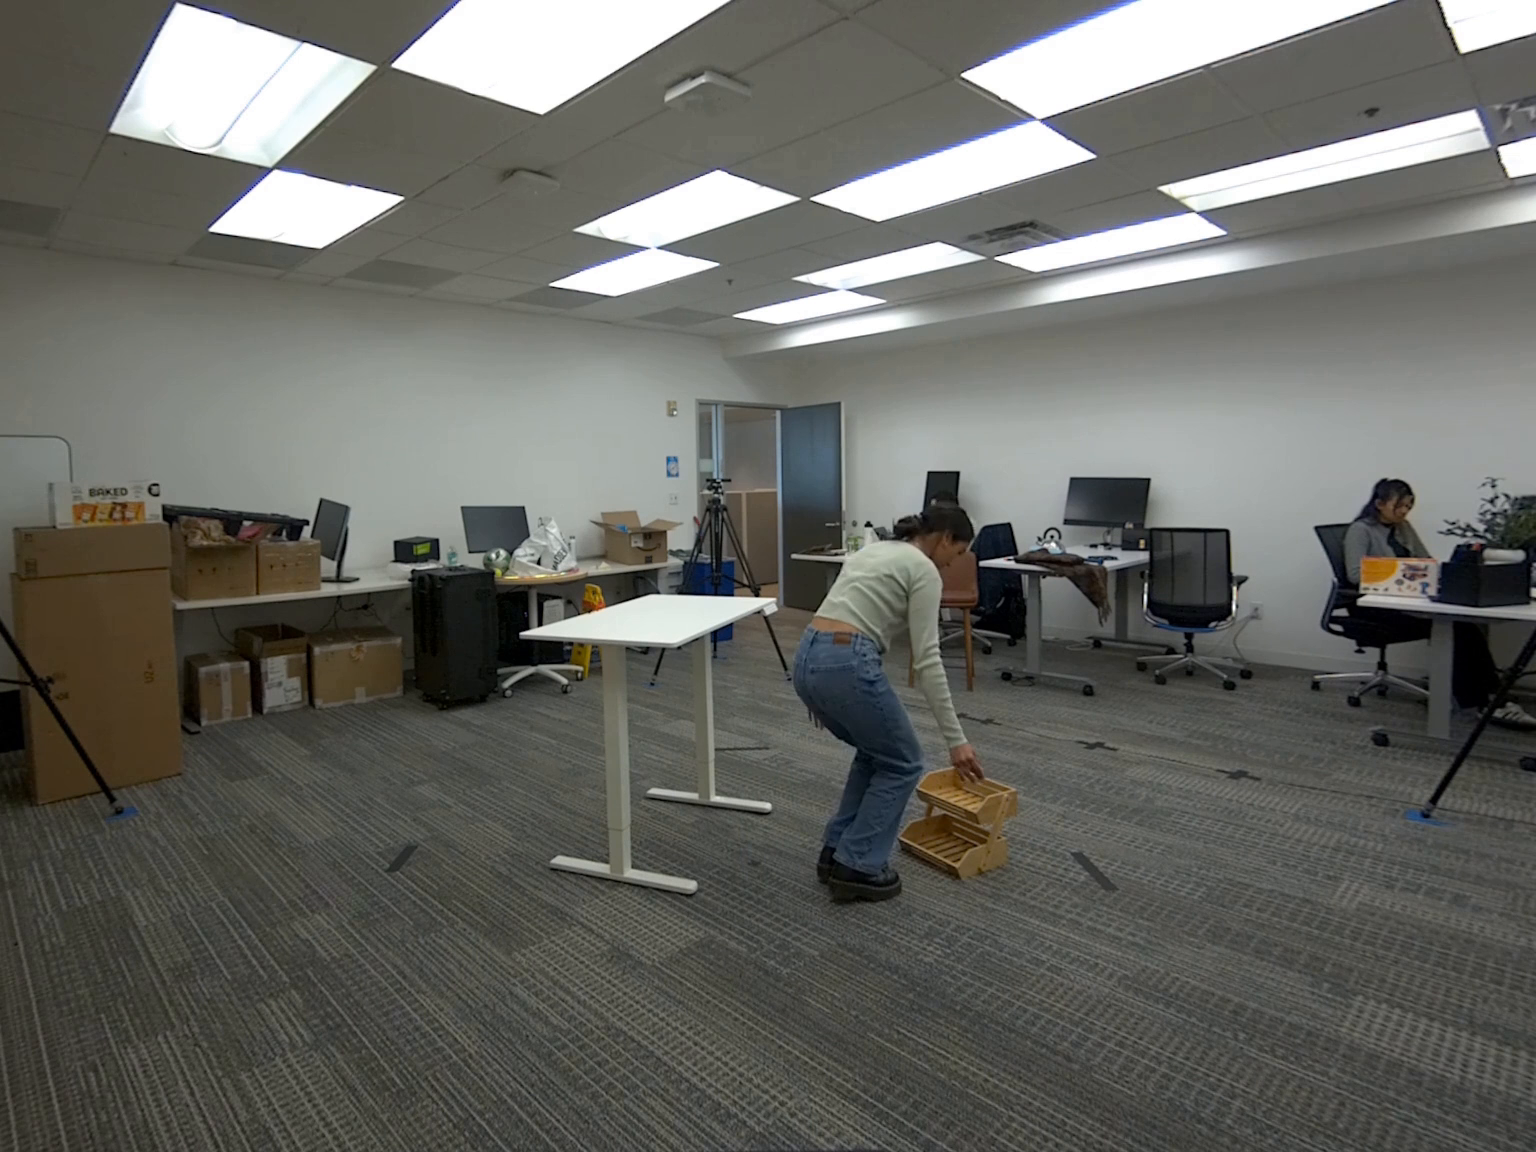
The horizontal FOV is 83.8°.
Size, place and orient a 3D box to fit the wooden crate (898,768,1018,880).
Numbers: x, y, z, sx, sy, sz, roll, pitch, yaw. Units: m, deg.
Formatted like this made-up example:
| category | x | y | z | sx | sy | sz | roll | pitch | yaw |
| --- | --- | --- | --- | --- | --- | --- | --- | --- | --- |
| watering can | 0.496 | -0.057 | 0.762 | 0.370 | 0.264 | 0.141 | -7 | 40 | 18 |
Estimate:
| category | x | y | z | sx | sy | sz | roll | pitch | yaw |
| --- | --- | --- | --- | --- | --- | --- | --- | --- | --- |
| wooden crate | 0.697 | 0.893 | 3.140 | 0.294 | 0.272 | 0.334 | -3 | 5 | -33 |
